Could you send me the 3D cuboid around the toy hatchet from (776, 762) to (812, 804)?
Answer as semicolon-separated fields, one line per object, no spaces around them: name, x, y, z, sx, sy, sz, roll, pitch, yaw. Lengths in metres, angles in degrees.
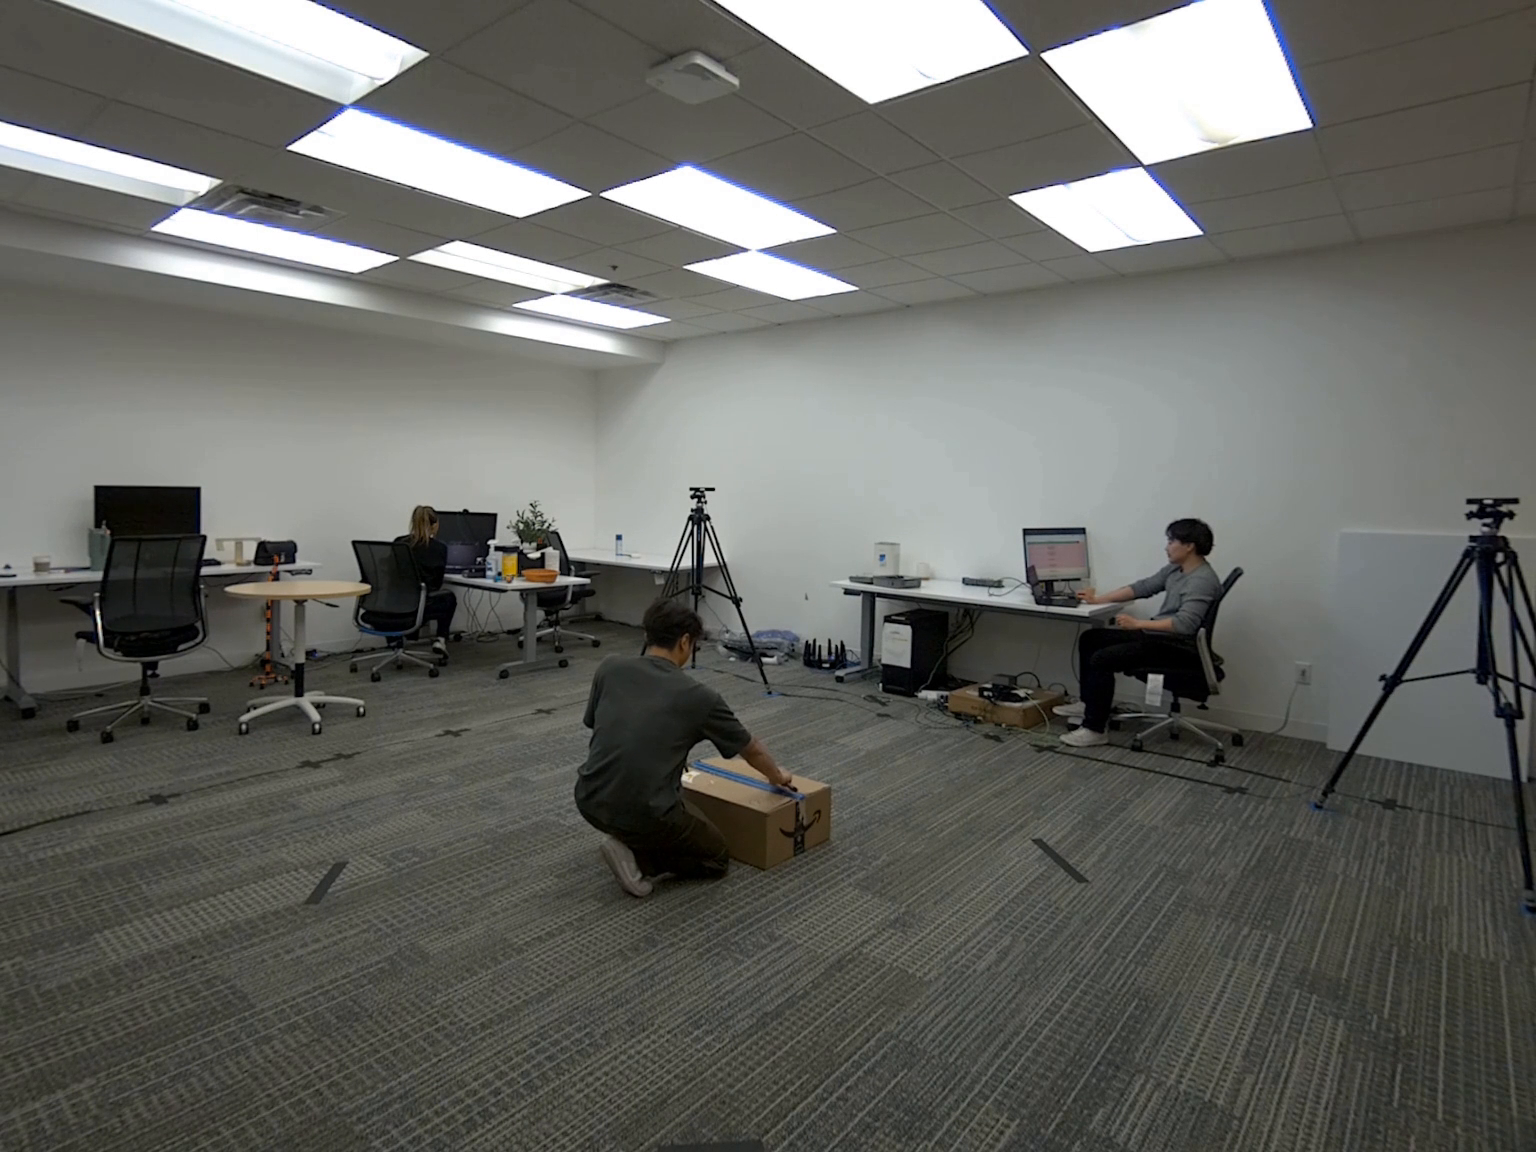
toy hatchet;0.058;0.805;3.365;0.127;0.029;0.279;34;-1;-27
